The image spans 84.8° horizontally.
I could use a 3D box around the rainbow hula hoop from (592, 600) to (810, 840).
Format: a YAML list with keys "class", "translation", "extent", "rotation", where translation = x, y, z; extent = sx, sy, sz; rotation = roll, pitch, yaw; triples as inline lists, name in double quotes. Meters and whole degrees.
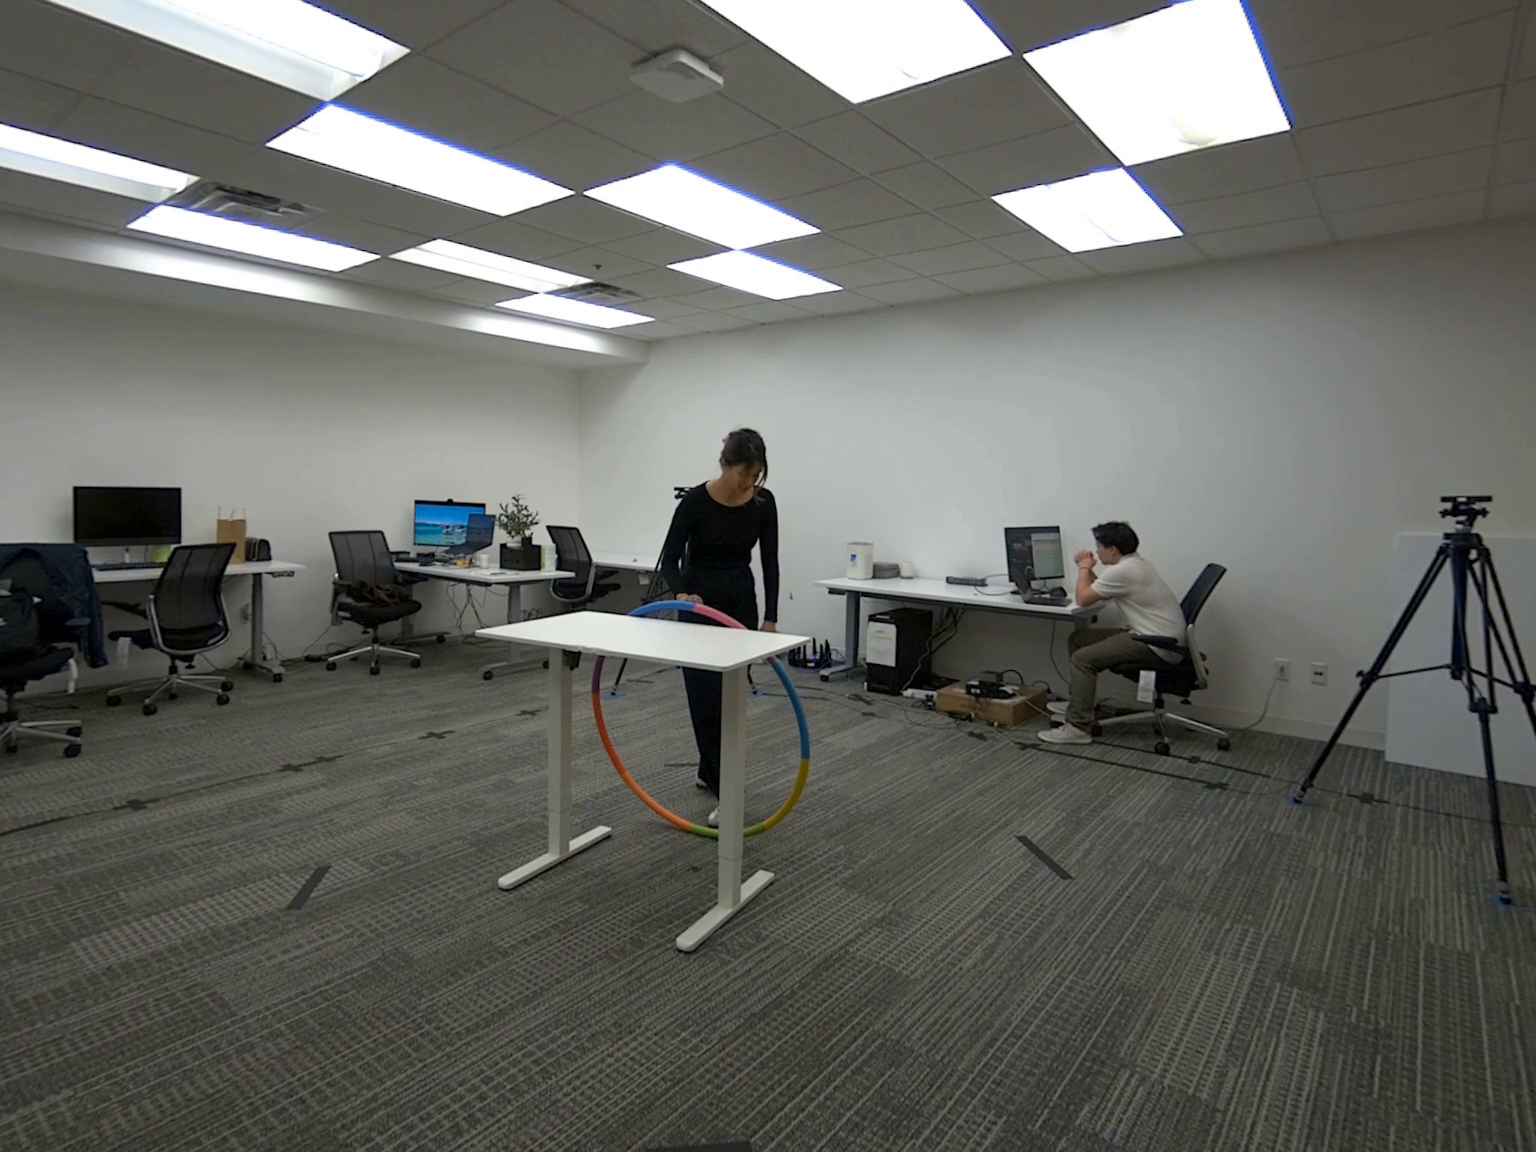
- class: "rainbow hula hoop"
  translation: [-0.296, 0.565, 3.310]
  extent: [1.007, 0.965, 0.035]
  rotation: [3, 15, 30]
